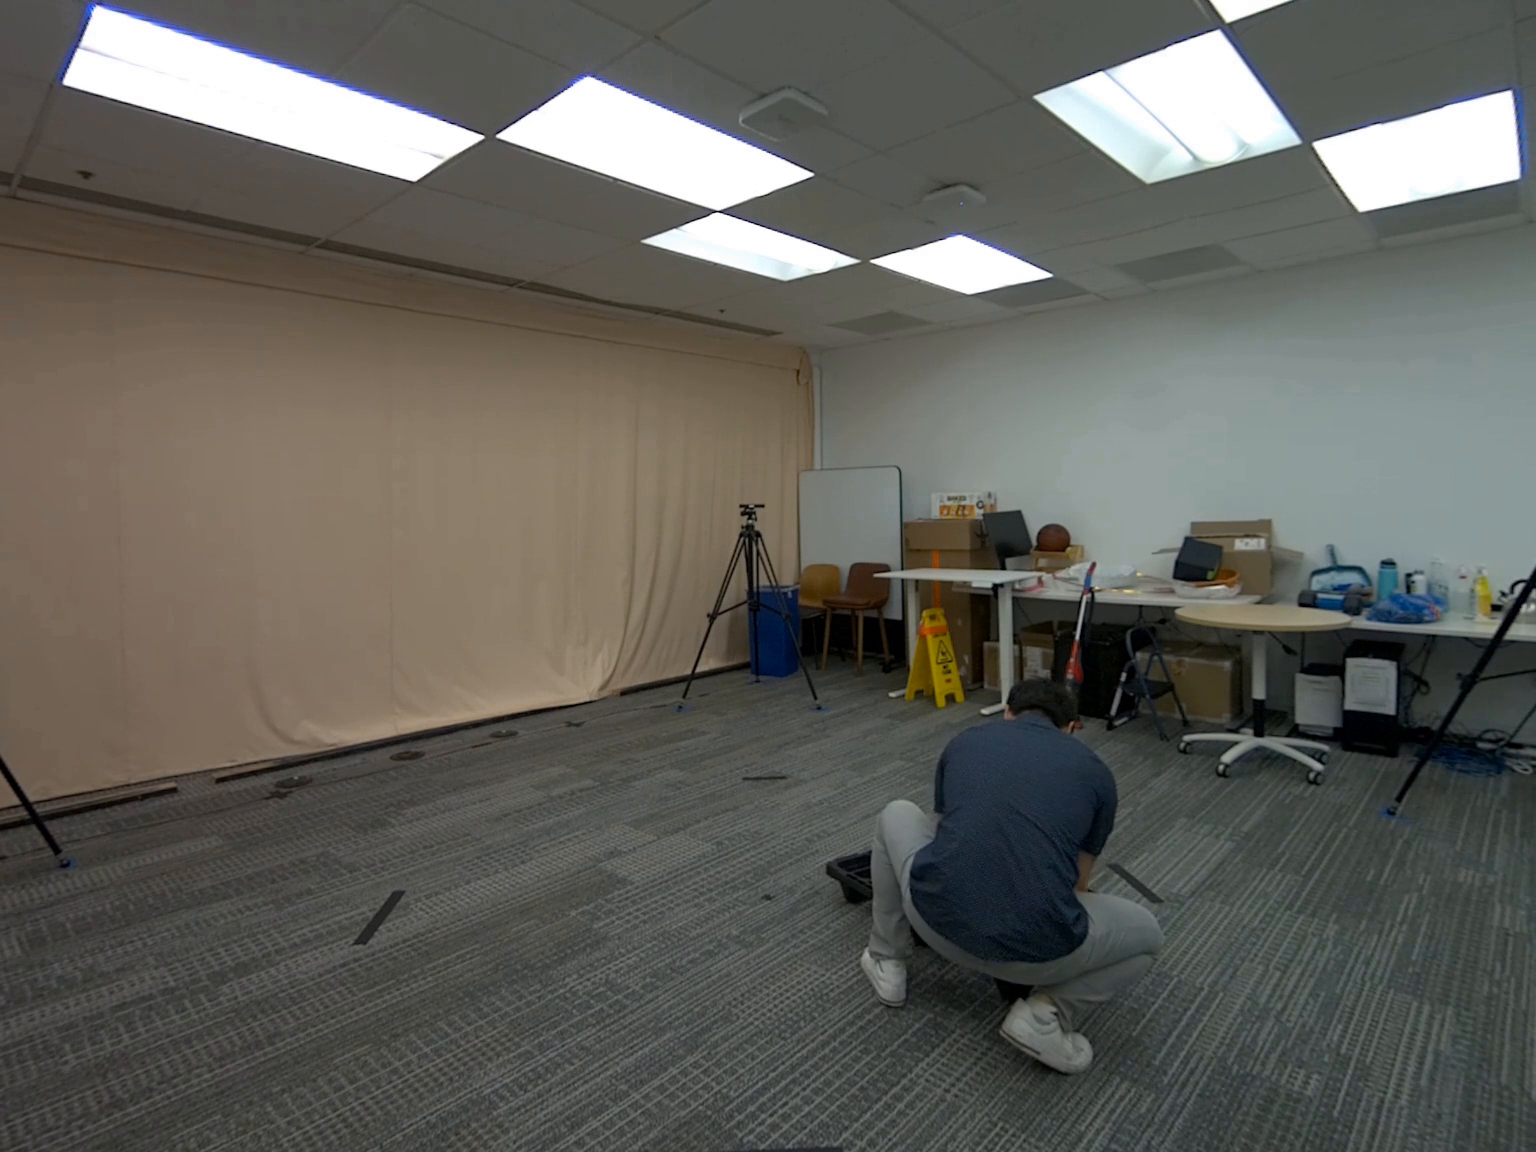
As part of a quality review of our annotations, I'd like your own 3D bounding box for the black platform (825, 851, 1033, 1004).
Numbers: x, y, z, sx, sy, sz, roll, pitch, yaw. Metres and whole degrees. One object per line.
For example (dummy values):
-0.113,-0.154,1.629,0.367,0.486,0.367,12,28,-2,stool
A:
0.675,1.078,2.766,0.588,0.143,0.830,-3,6,-33,black platform
